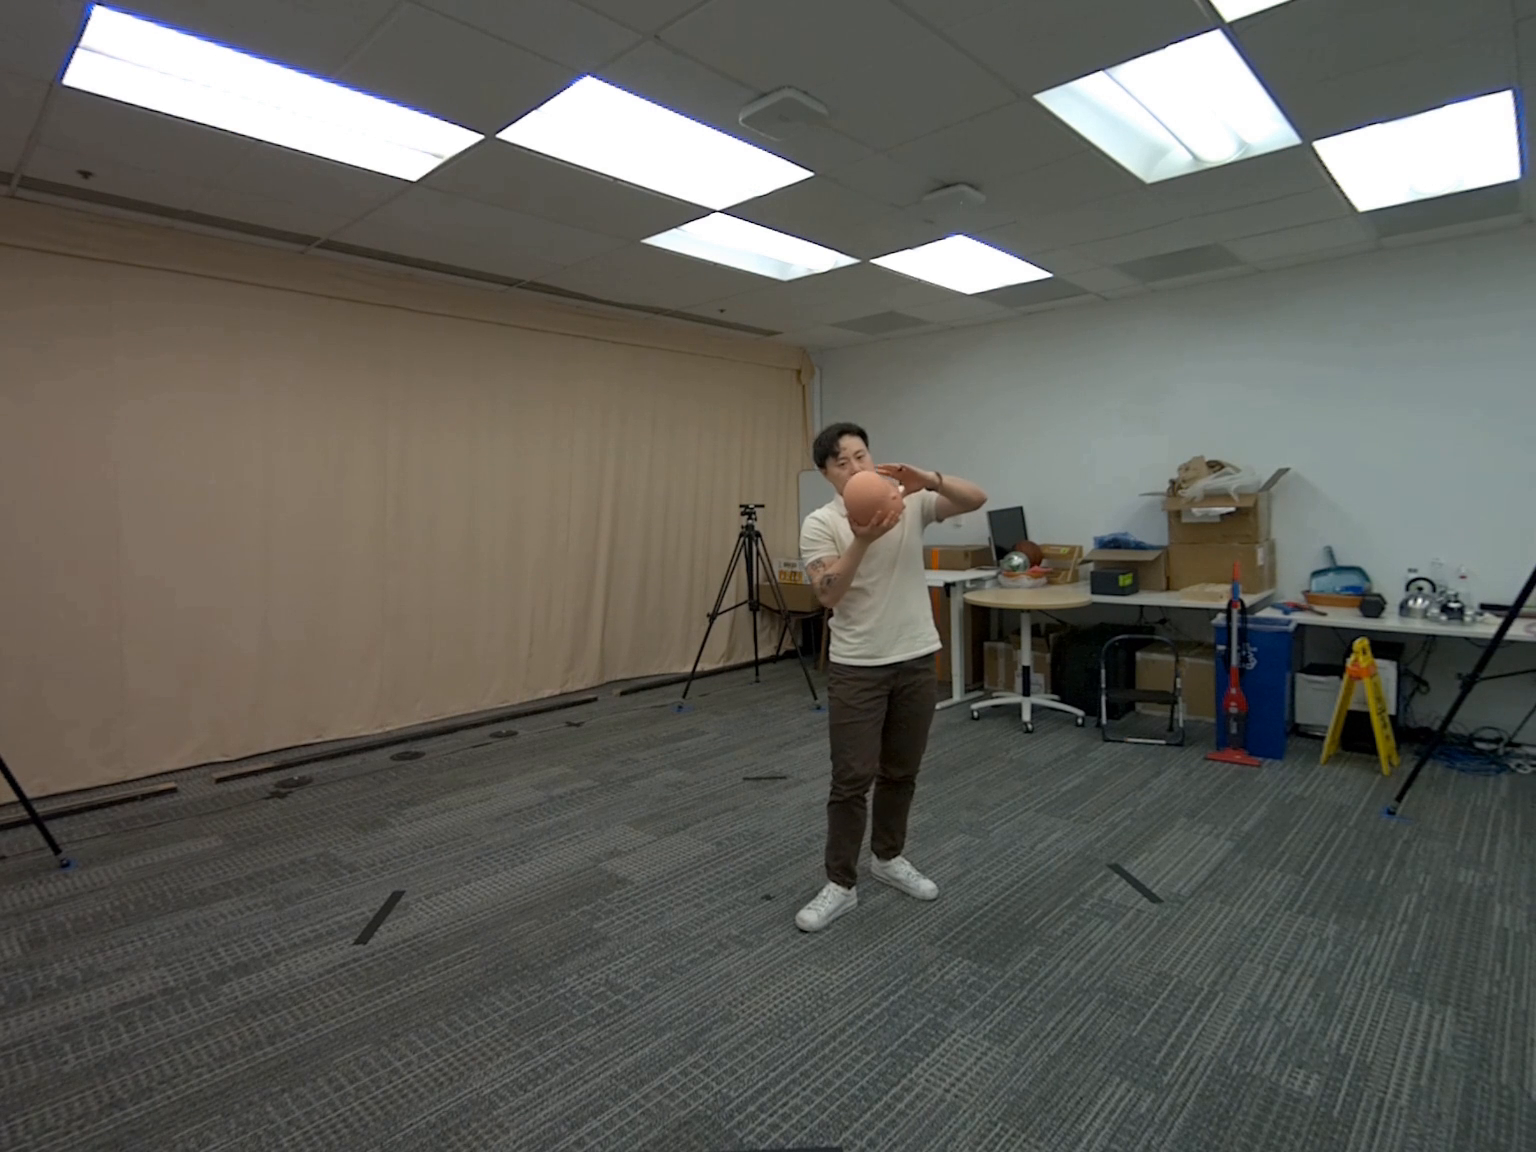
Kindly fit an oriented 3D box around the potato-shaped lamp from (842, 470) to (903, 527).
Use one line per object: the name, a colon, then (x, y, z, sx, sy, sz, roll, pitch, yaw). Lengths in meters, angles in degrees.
potato-shaped lamp: (0.328, -0.241, 2.606, 0.170, 0.171, 0.191, 54, 3, 39)
